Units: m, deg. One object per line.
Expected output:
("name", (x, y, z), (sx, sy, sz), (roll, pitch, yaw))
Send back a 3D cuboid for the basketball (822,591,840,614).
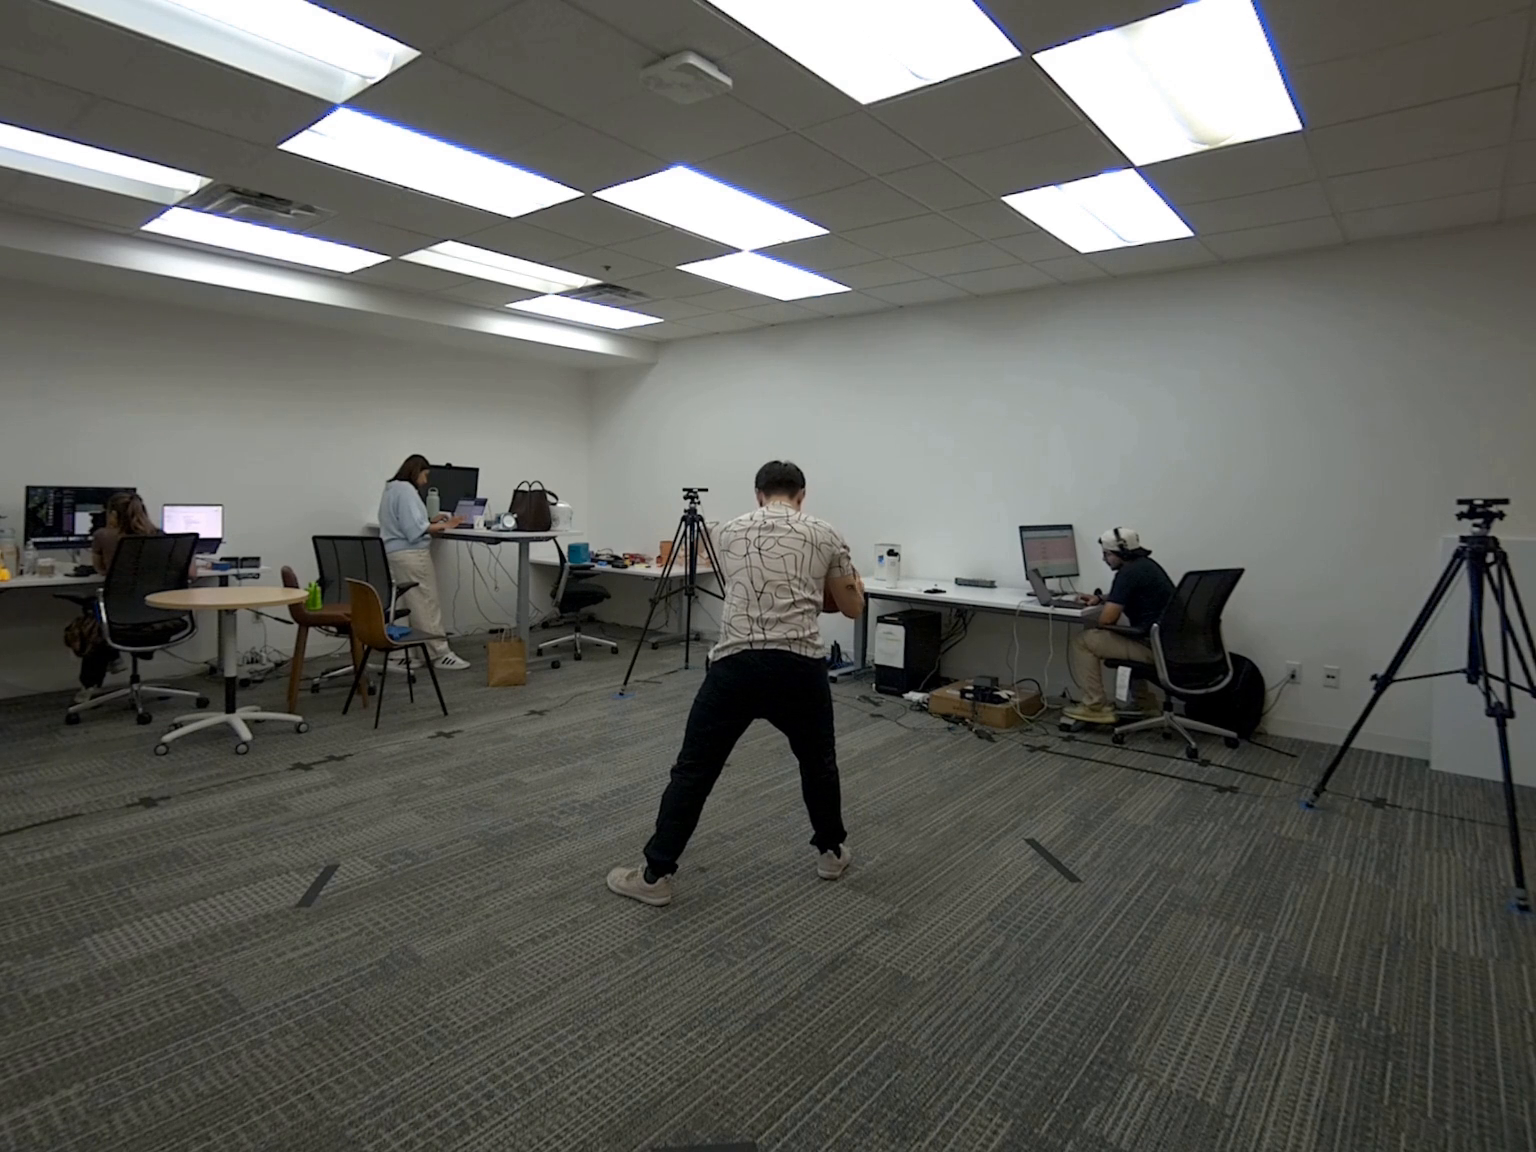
("basketball", (0.241, 0.031, 3.463), (0.235, 0.235, 0.237), (1, 4, -2))
